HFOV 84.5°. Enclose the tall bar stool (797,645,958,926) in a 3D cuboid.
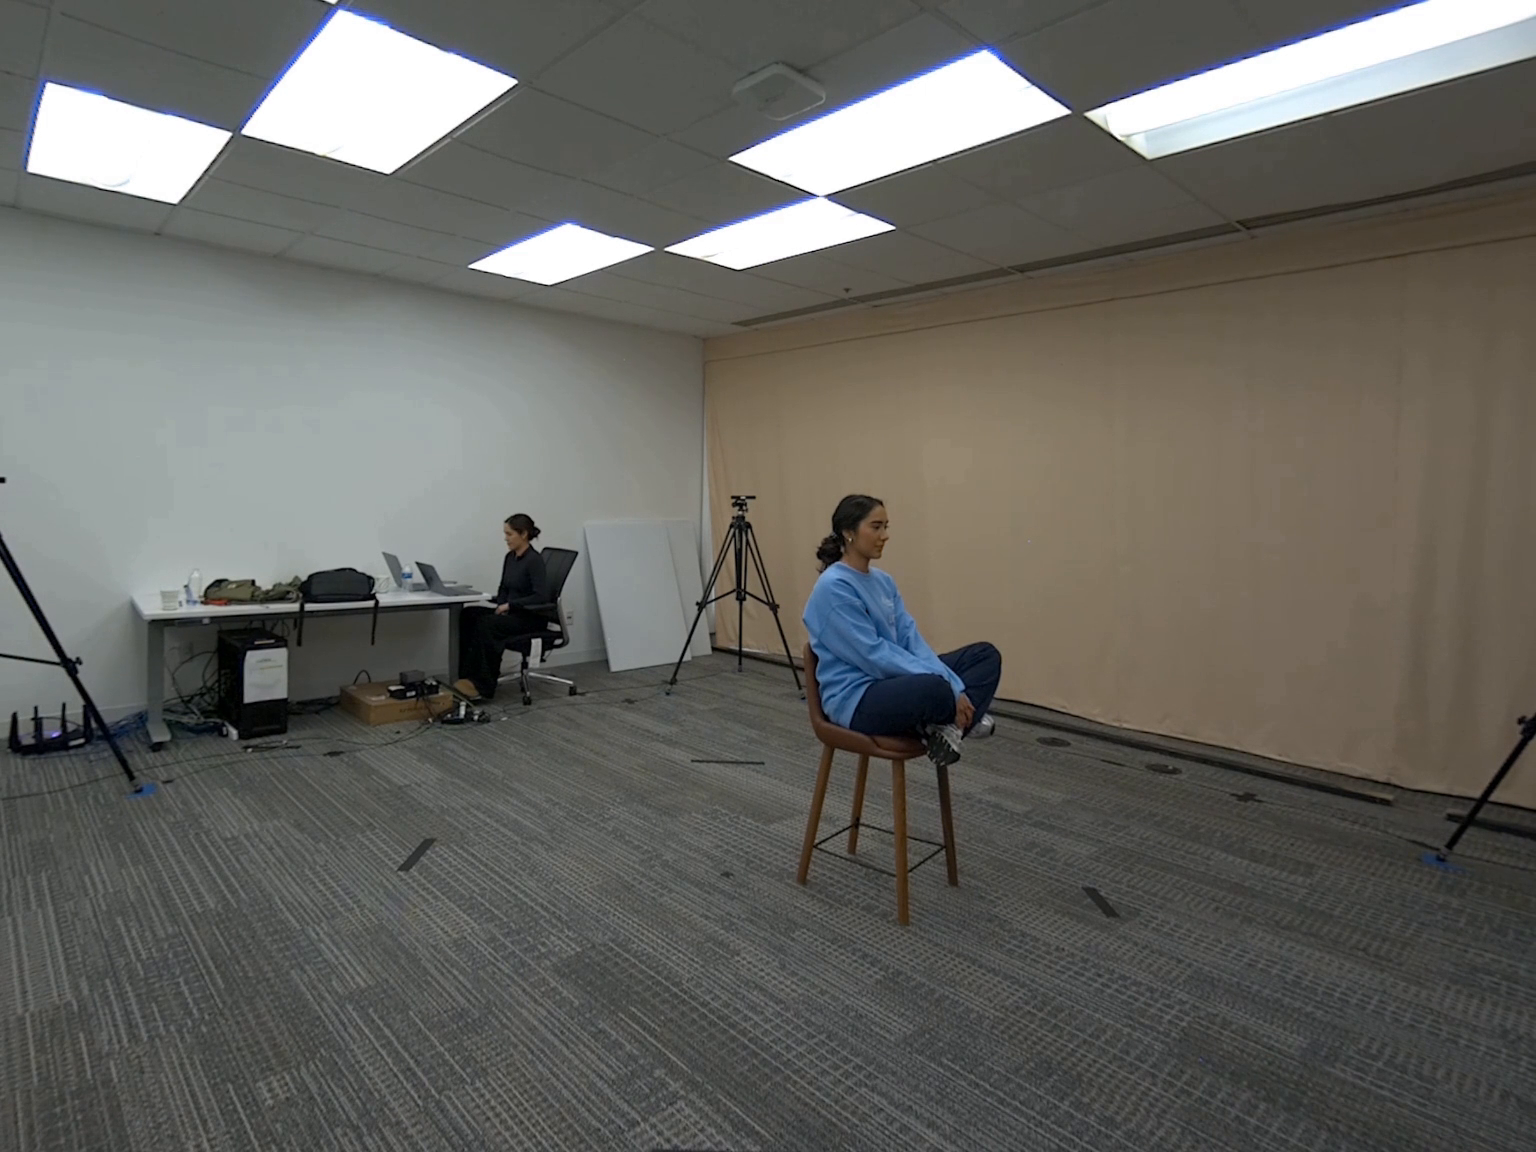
[{"bbox_3d":[0.393,0.687,3.034,0.479,0.888,0.446,2,2,39],"label":"tall bar stool"}]
